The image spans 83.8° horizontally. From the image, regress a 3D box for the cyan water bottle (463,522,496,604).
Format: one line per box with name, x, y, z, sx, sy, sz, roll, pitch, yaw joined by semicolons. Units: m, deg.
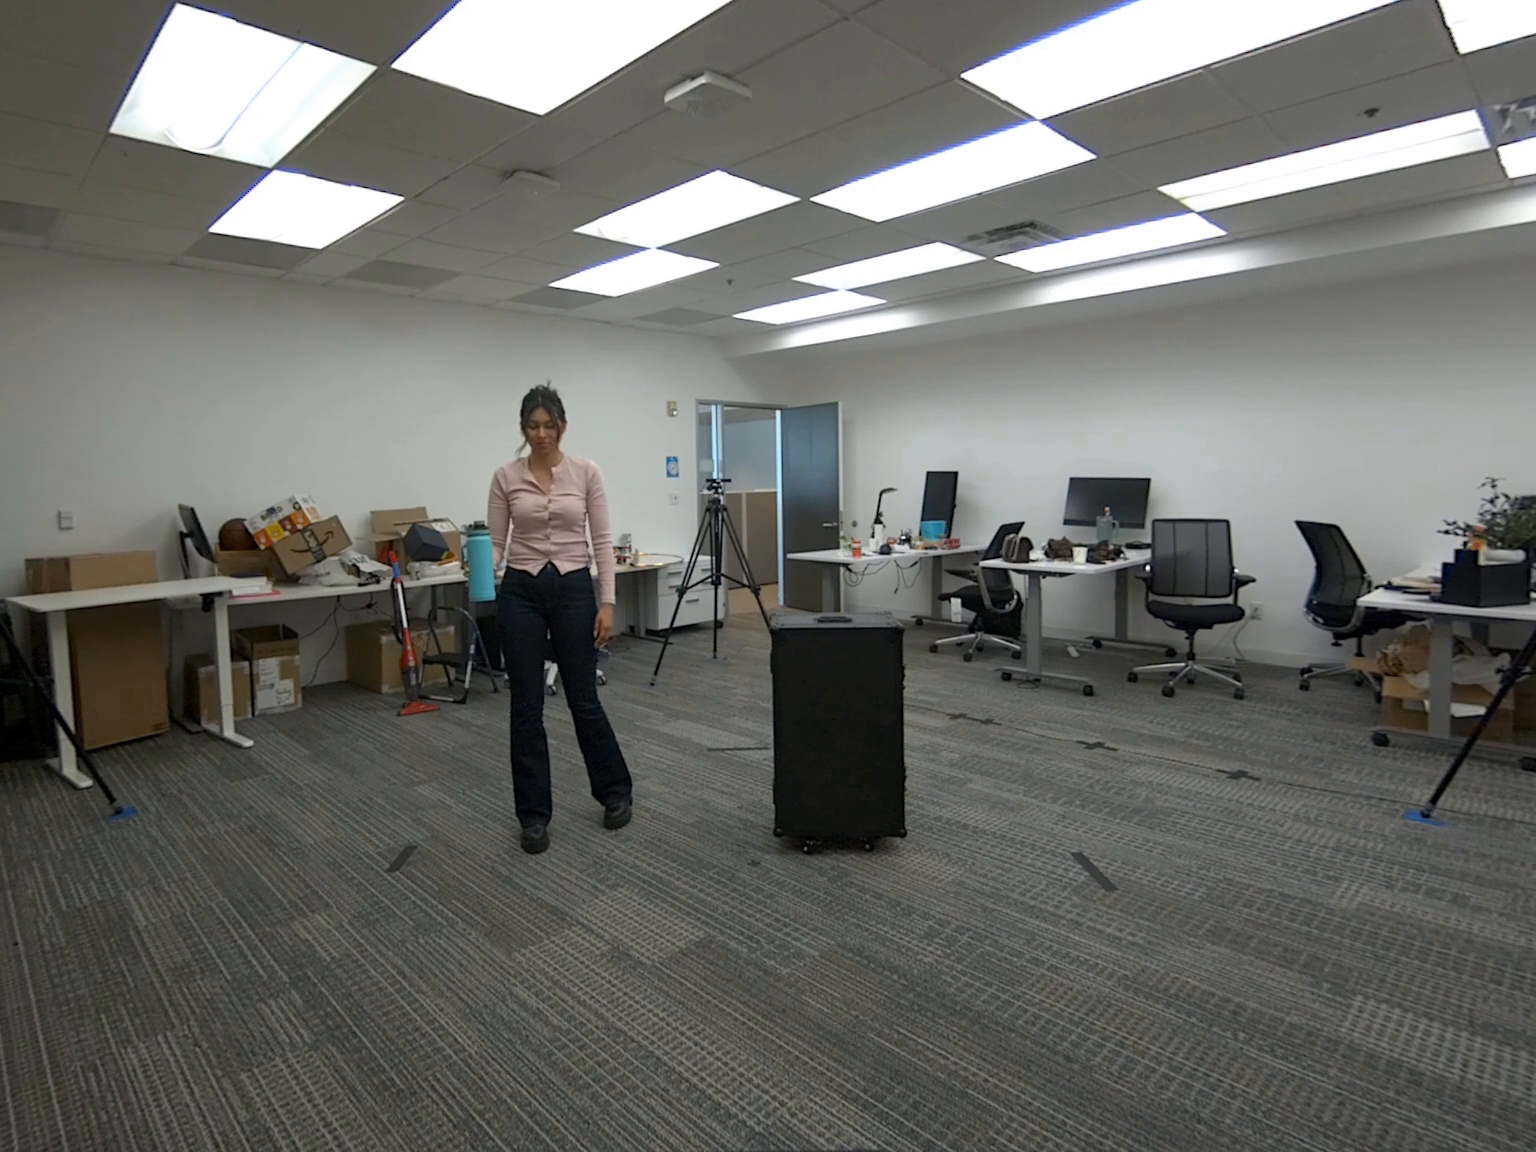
cyan water bottle;-1.031;-0.052;3.033;0.092;0.284;0.092;-9;-3;-2
